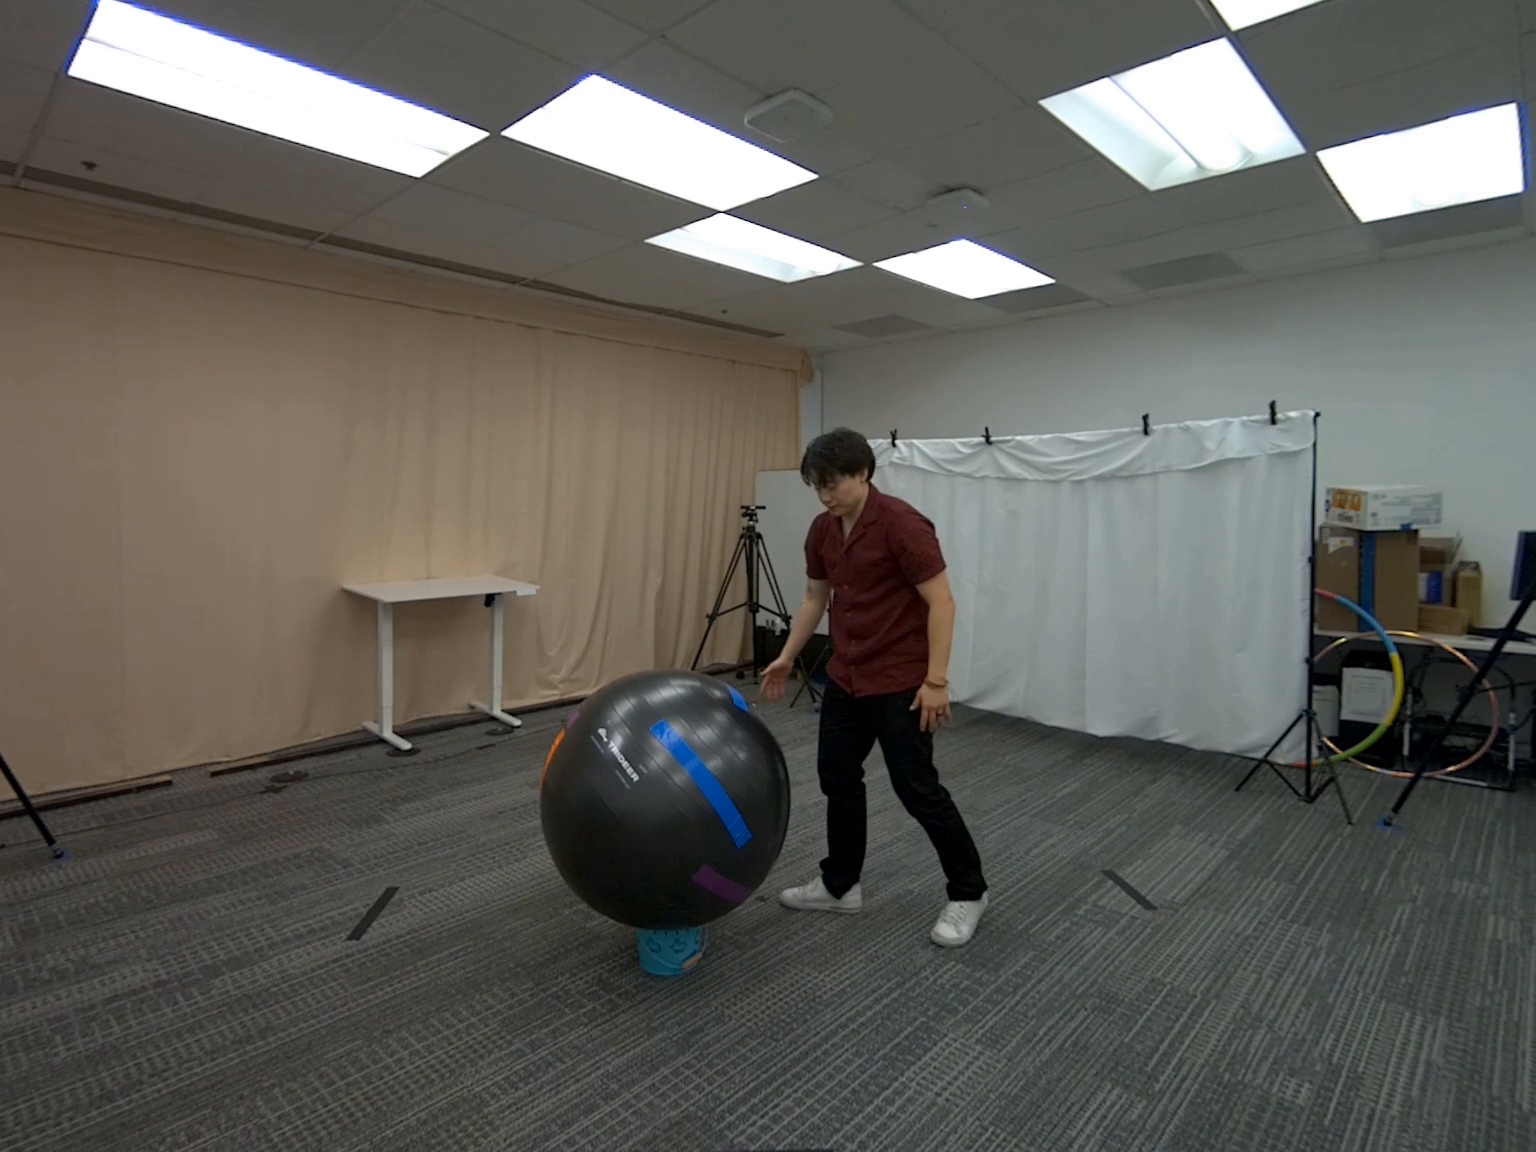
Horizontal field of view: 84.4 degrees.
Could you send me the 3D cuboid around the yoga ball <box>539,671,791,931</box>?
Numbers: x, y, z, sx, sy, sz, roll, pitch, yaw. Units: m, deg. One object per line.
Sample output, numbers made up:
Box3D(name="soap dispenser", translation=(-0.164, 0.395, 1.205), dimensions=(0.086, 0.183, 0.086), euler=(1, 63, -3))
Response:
Box3D(name="yoga ball", translation=(-0.319, 0.677, 2.558), dimensions=(0.757, 0.756, 0.760), euler=(0, 4, -2))
